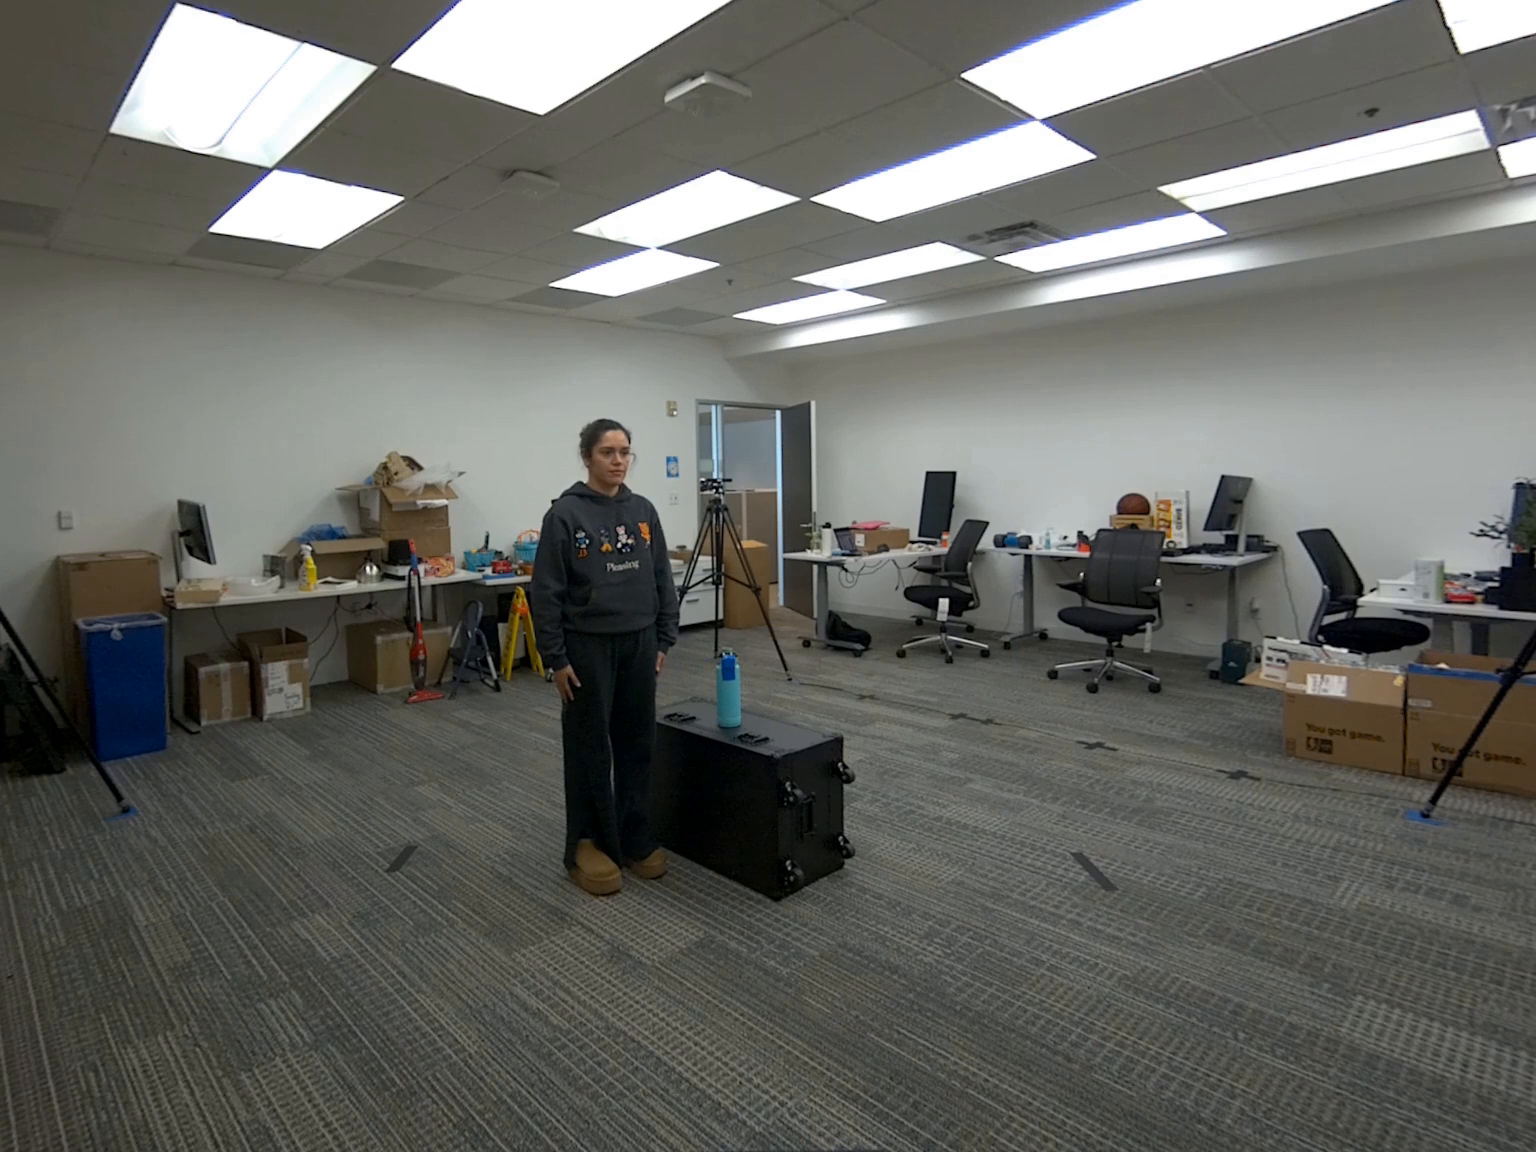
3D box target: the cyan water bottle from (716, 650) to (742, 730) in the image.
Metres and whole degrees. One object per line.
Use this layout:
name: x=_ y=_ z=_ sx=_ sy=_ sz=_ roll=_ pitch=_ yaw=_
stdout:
cyan water bottle: x=-0.145 y=0.413 z=3.181 sx=0.092 sy=0.282 sz=0.093 roll=-2 pitch=4 yaw=-1
